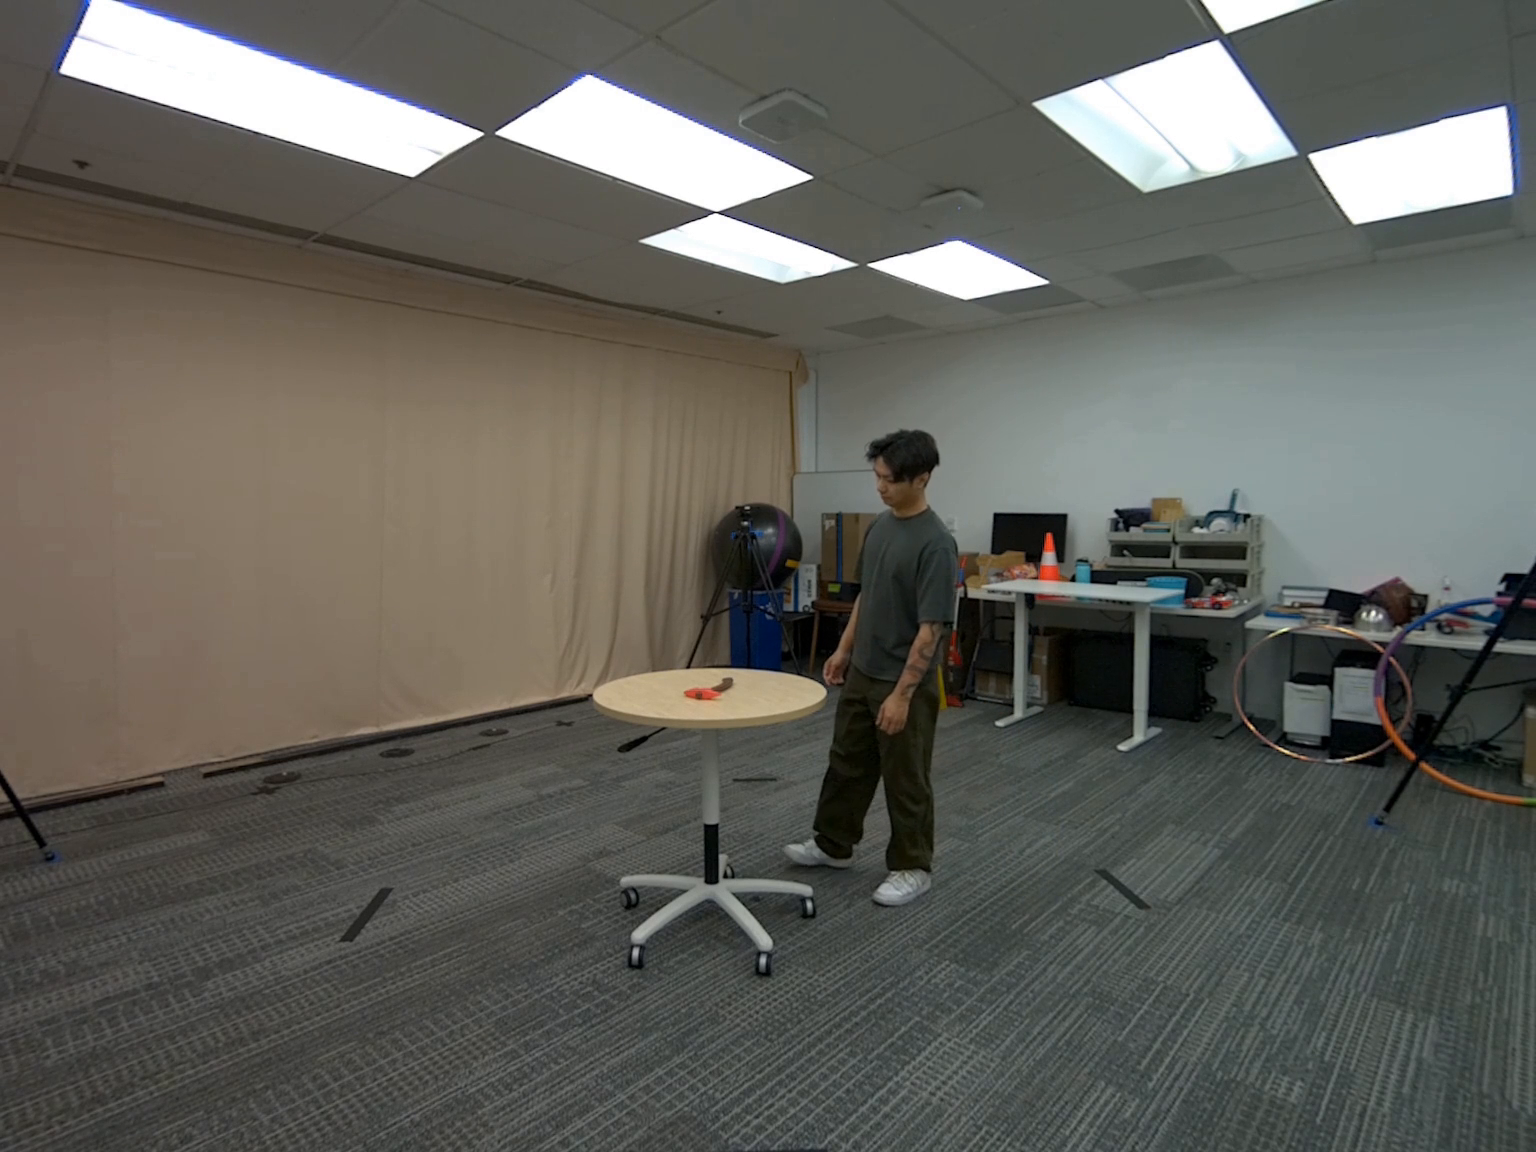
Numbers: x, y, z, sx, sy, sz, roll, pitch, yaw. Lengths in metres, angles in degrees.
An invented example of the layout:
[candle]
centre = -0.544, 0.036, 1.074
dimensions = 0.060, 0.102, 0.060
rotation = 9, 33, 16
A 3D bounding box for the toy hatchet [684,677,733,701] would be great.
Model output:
[toy hatchet]
centre = -0.191, 0.371, 2.770
dimensions = 0.132, 0.029, 0.268
rotation = -5, 2, 8
